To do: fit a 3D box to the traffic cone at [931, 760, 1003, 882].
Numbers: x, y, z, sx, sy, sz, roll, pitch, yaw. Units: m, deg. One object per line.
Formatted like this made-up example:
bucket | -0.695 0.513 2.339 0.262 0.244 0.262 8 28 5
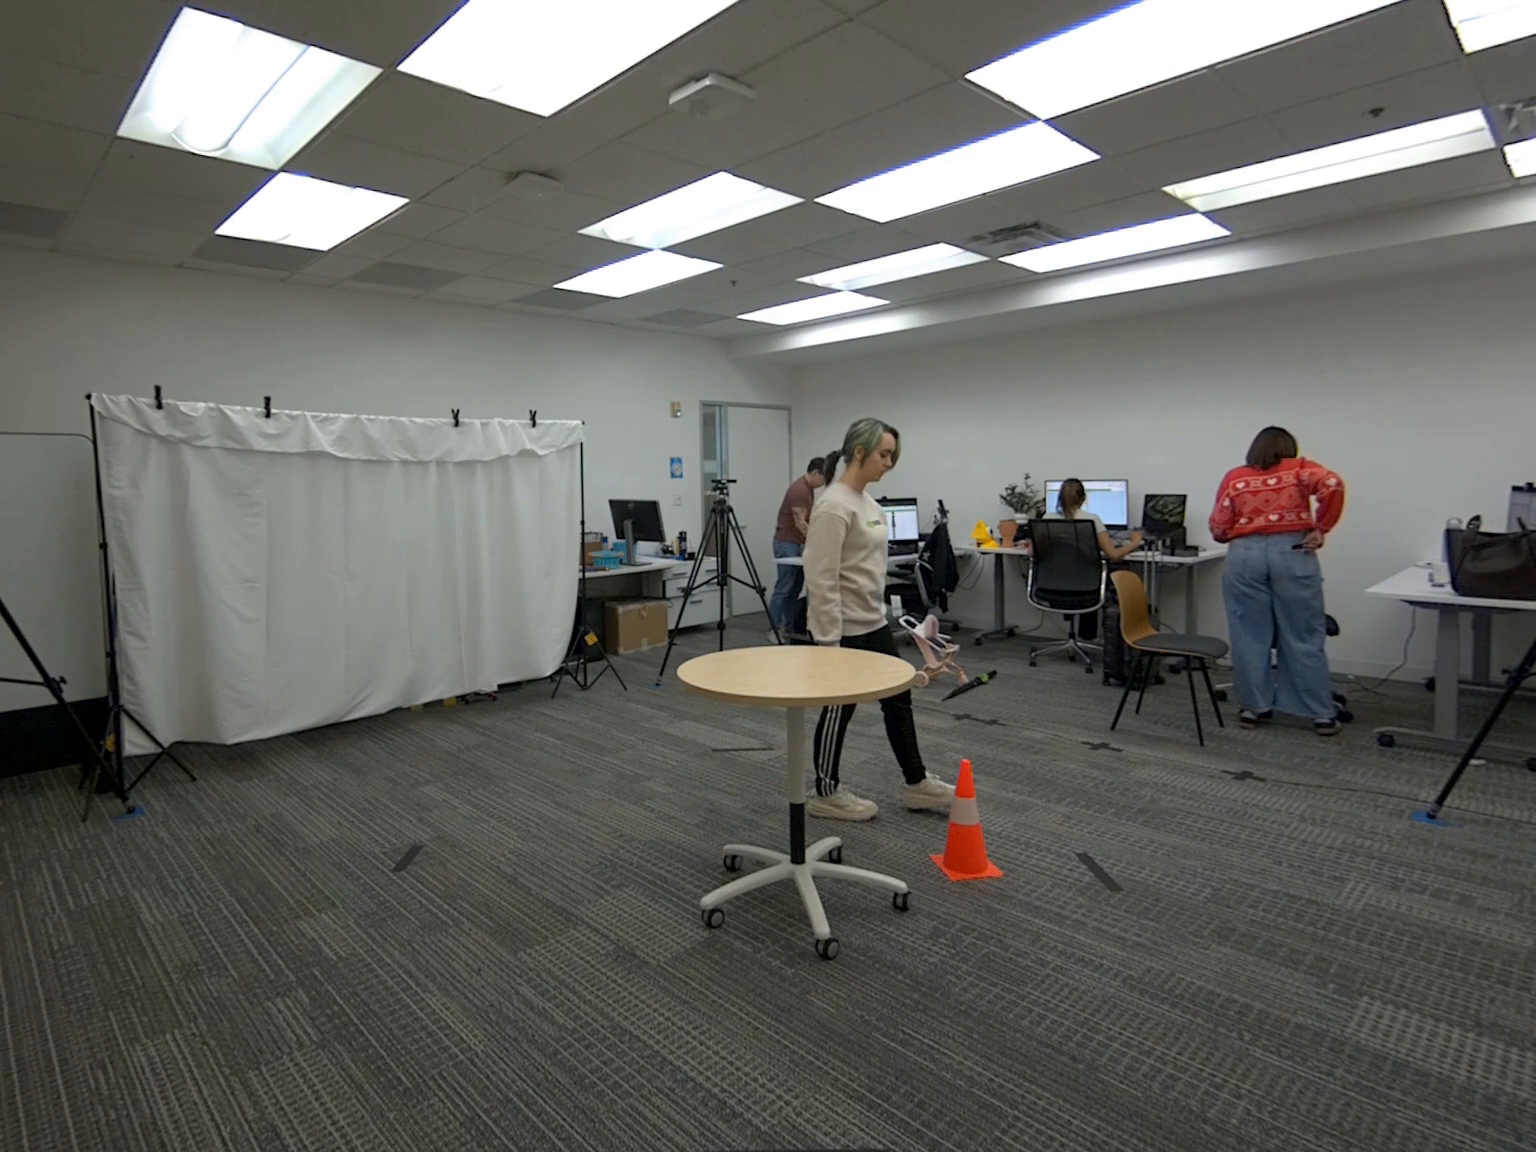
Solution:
traffic cone | 0.716 0.859 3.059 0.203 0.383 0.206 0 3 -12
